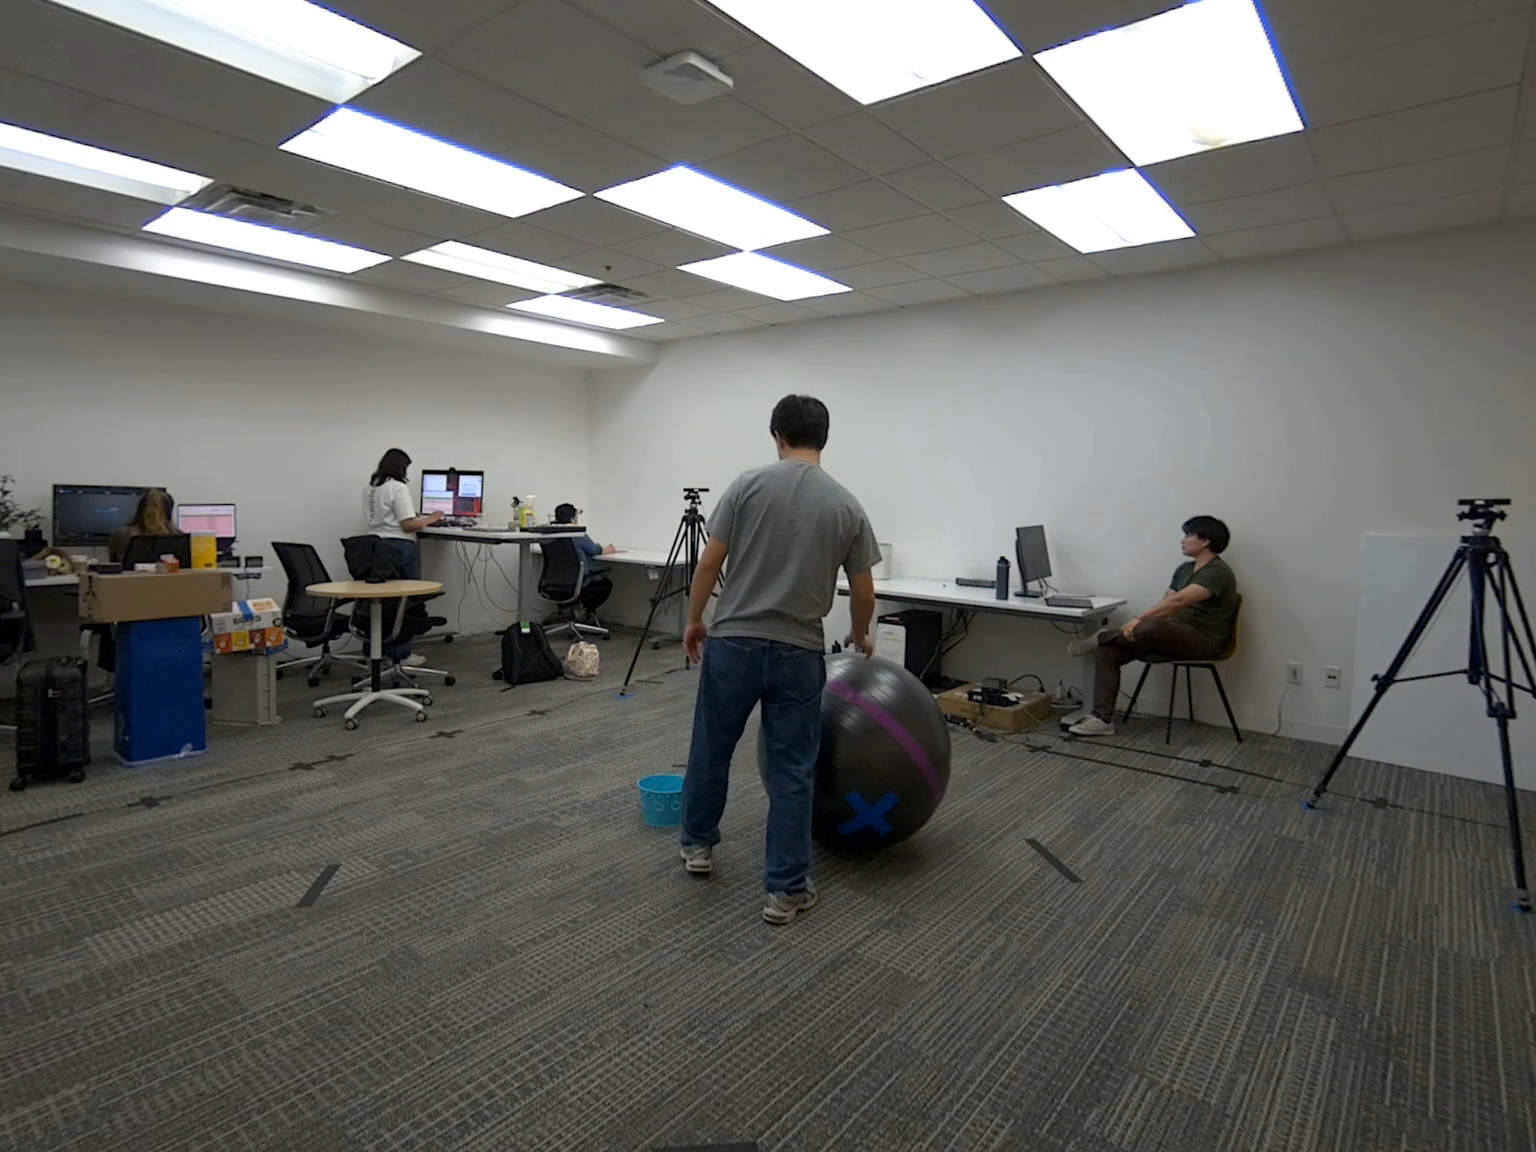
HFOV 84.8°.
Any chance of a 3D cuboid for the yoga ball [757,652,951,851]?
[{"bbox_3d":[0.344,0.687,3.374,0.757,0.755,0.762,1,4,-2],"label":"yoga ball"}]
